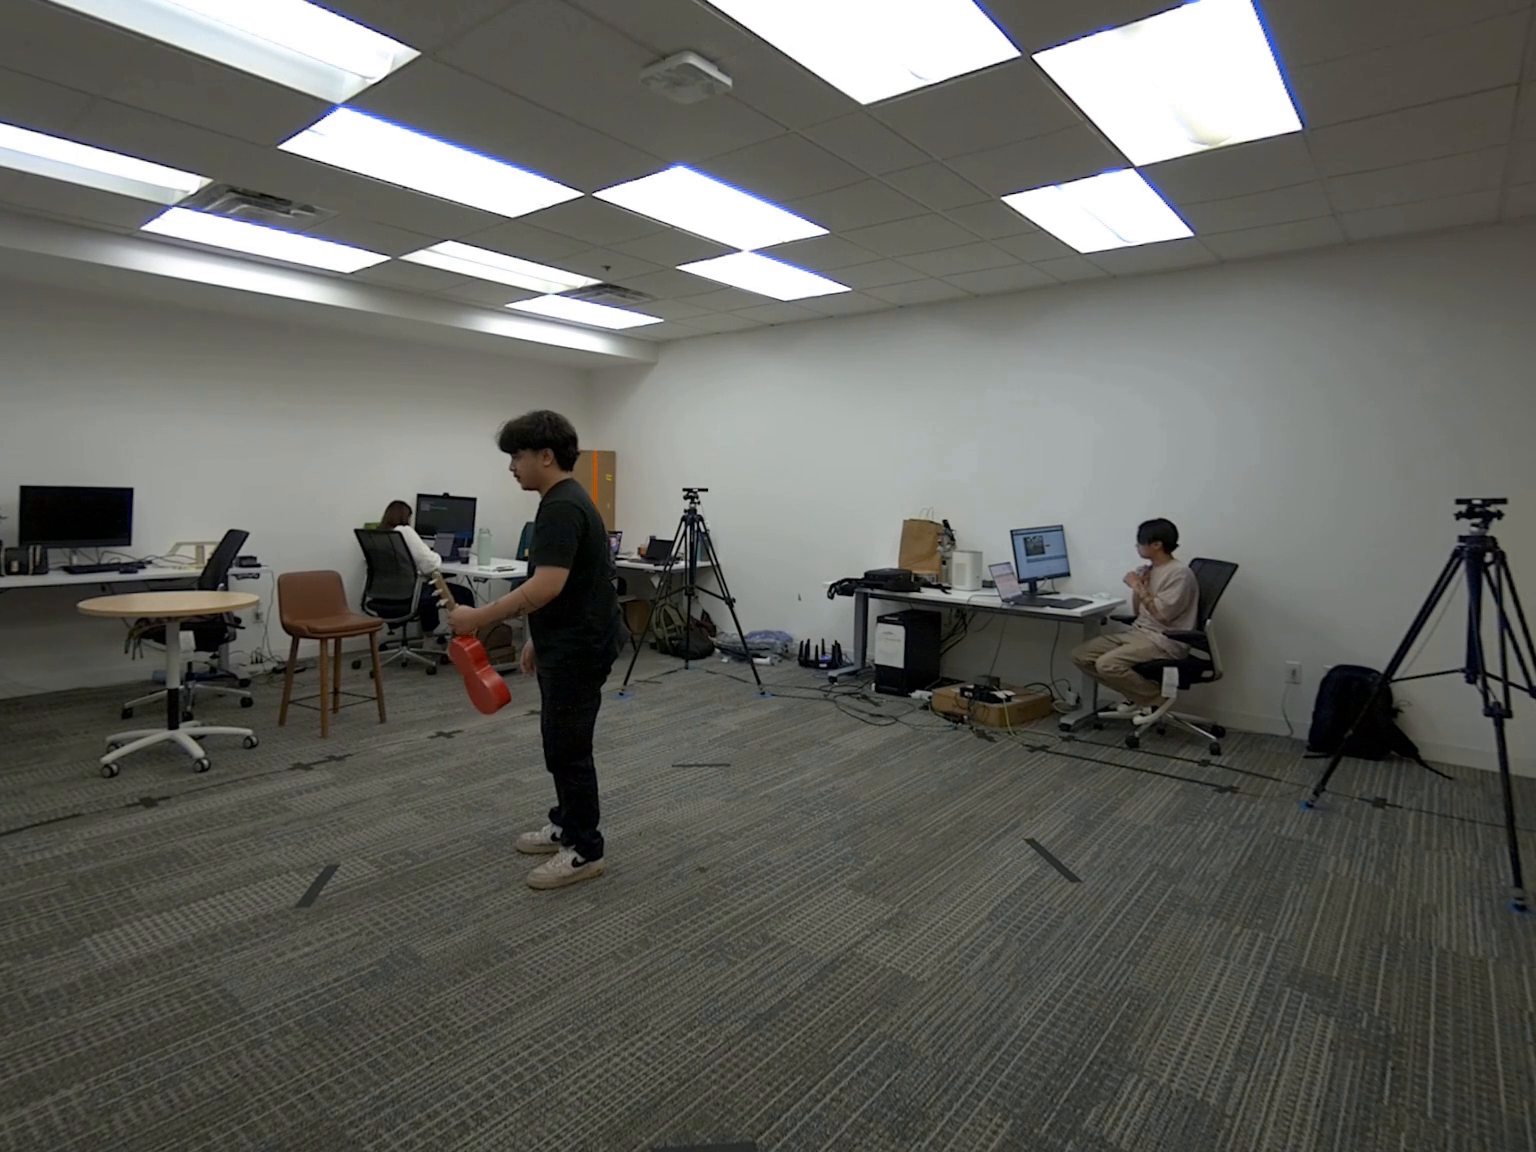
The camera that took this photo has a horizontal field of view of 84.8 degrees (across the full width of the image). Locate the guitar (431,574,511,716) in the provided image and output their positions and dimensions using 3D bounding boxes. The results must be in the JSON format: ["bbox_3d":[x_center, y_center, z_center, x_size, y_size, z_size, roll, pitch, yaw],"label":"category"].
[{"bbox_3d":[-1.028,0.235,2.828,0.070,0.500,0.195,-28,-5,-42],"label":"guitar"}]
